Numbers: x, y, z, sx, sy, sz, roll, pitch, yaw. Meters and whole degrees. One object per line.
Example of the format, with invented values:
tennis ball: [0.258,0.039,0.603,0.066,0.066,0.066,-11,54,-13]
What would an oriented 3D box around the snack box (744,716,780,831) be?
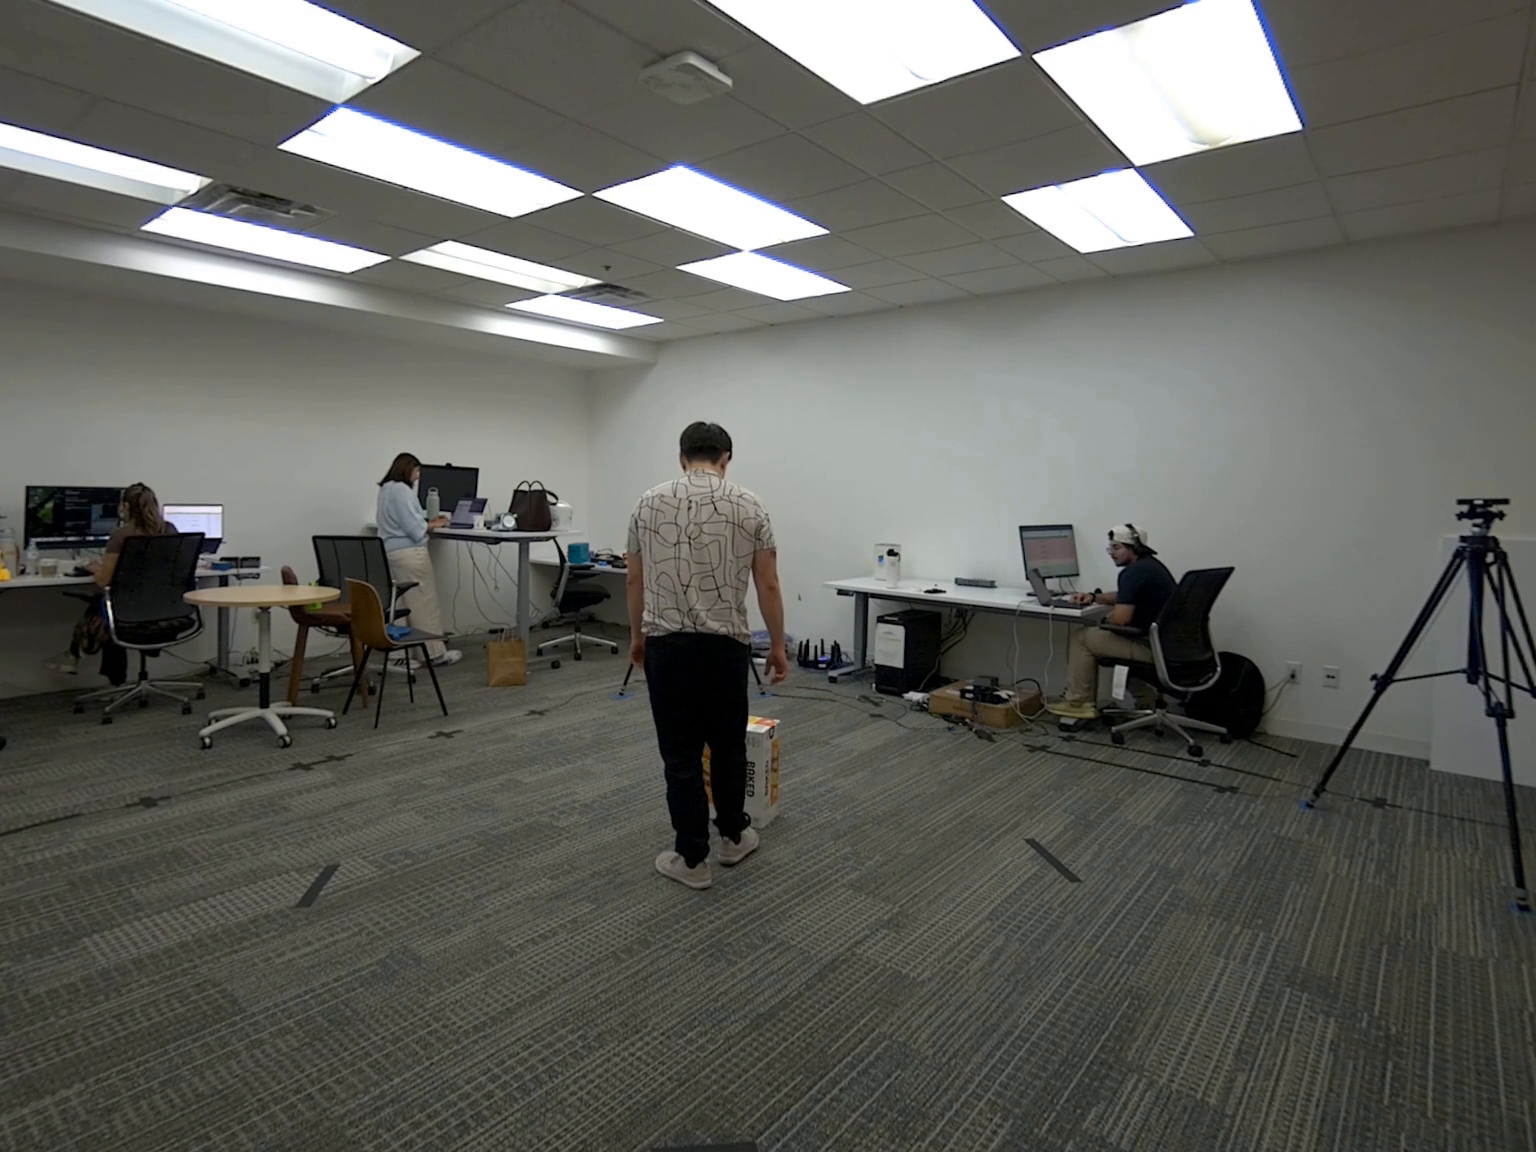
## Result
snack box: [-0.149,0.813,3.635,0.349,0.404,0.201,3,4,24]
